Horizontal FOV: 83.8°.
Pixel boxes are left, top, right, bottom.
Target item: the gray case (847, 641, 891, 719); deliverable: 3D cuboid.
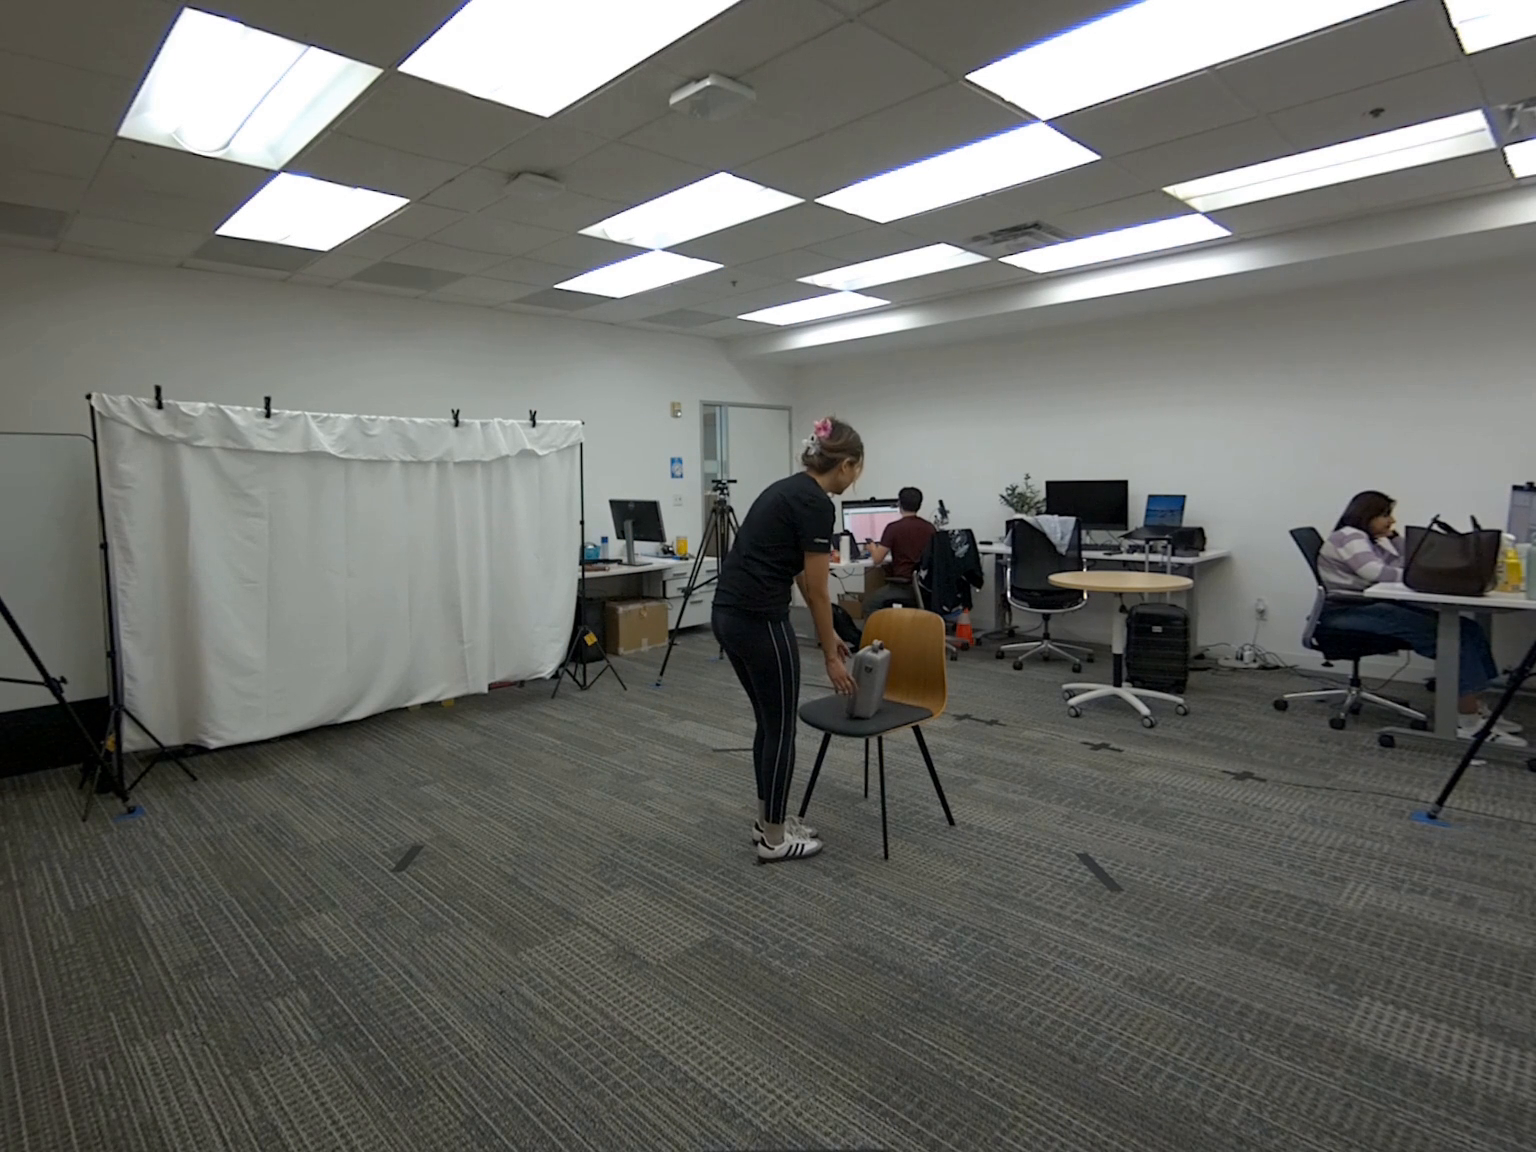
[{"bbox_3d":[0.403,0.413,3.351,0.106,0.260,0.252,14,6,17],"label":"gray case"}]
